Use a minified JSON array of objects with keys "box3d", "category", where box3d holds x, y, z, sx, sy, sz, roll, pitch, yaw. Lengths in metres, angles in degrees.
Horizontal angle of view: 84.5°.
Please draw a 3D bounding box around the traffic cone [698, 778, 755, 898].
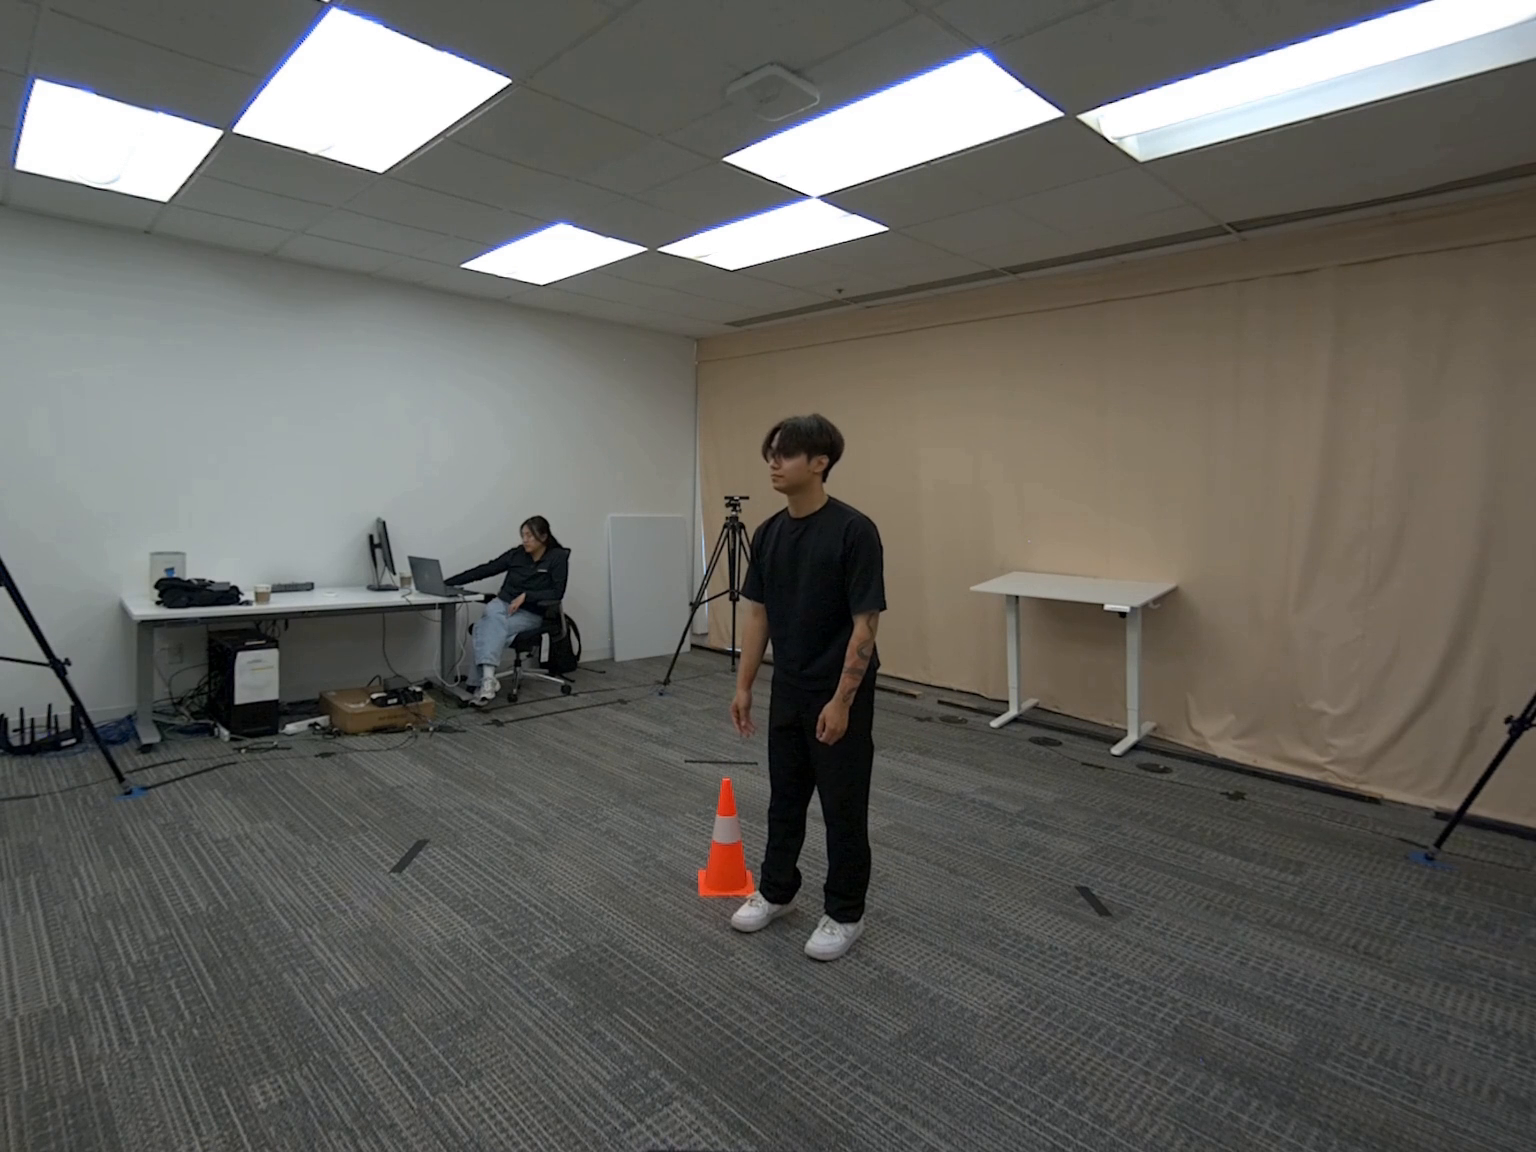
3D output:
[{"box3d":[-0.158,0.927,3.035,0.203,0.383,0.206,1,3,-2],"category":"traffic cone"}]
